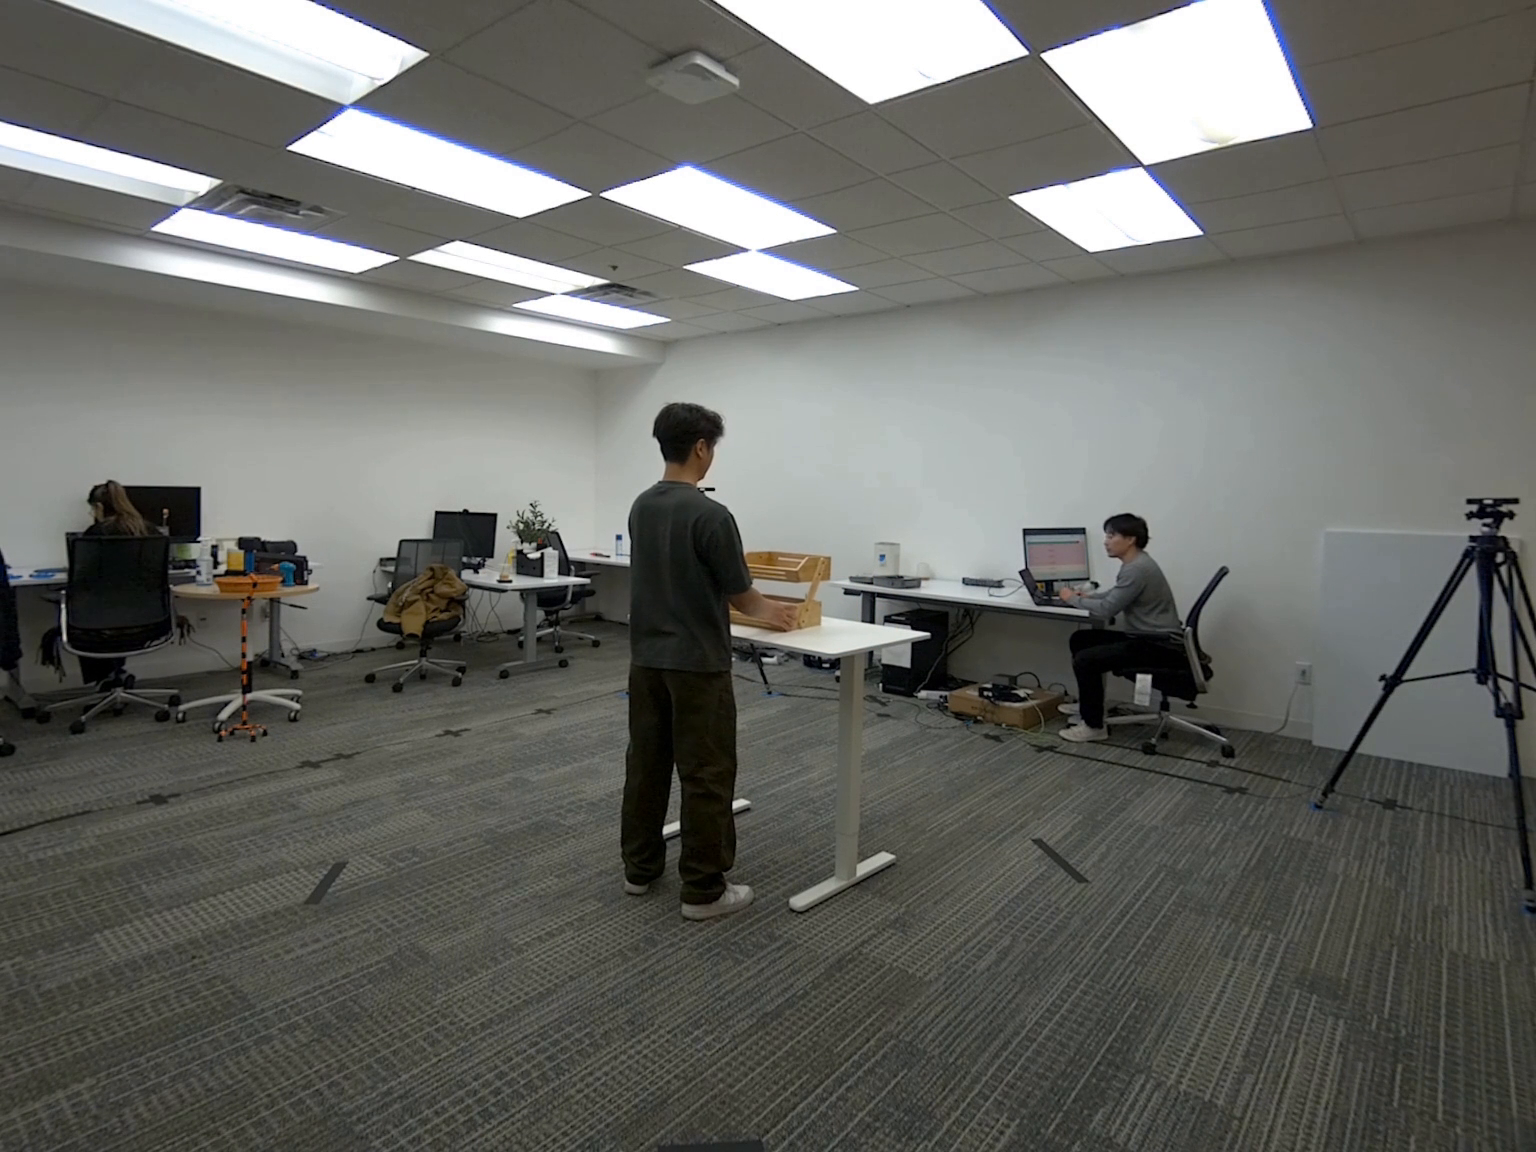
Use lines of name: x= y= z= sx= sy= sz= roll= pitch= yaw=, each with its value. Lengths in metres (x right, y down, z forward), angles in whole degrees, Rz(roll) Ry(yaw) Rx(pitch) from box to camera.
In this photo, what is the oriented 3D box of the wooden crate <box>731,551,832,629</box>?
wooden crate: x=0.015 y=0.042 z=3.238 sx=0.335 sy=0.272 sz=0.293 roll=6 pitch=6 yaw=39
